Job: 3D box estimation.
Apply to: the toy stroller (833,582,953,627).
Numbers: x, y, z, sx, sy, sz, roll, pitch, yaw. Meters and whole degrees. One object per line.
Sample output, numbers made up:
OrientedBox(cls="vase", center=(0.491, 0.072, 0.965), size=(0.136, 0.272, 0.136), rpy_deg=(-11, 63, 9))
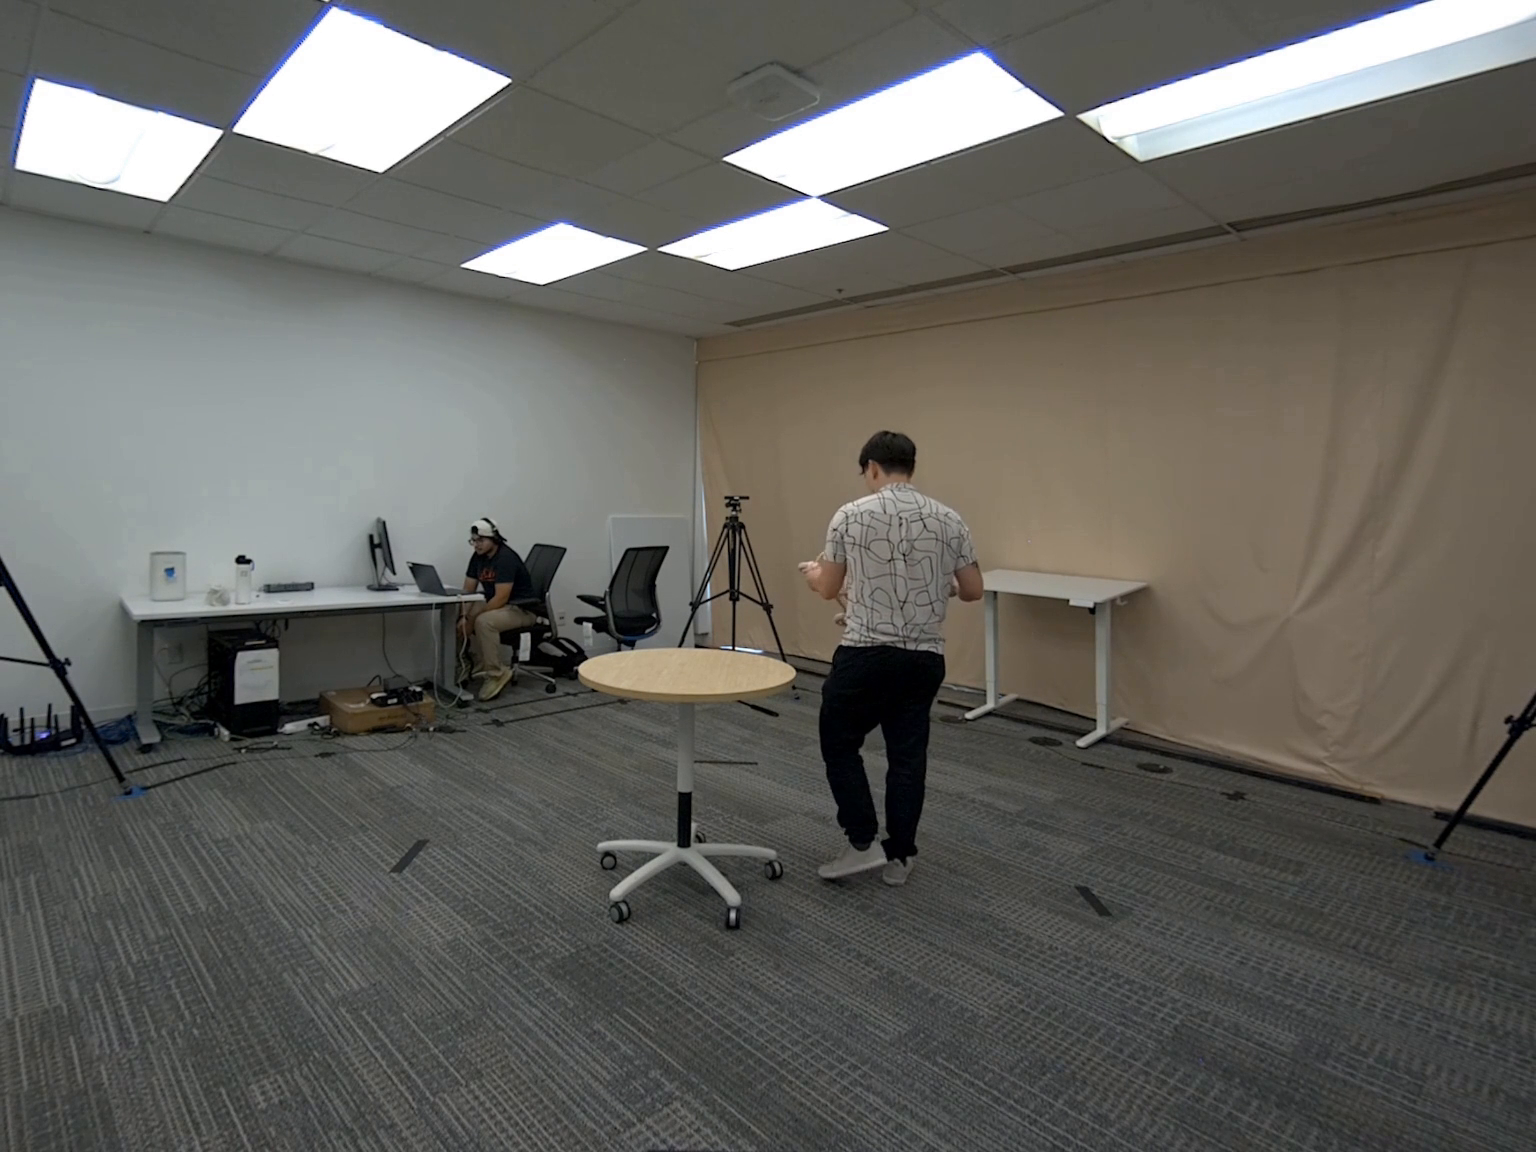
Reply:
OrientedBox(cls="toy stroller", center=(0.411, 0.009, 3.392), size=(0.546, 0.284, 0.330), rpy_deg=(-5, -36, 37))
